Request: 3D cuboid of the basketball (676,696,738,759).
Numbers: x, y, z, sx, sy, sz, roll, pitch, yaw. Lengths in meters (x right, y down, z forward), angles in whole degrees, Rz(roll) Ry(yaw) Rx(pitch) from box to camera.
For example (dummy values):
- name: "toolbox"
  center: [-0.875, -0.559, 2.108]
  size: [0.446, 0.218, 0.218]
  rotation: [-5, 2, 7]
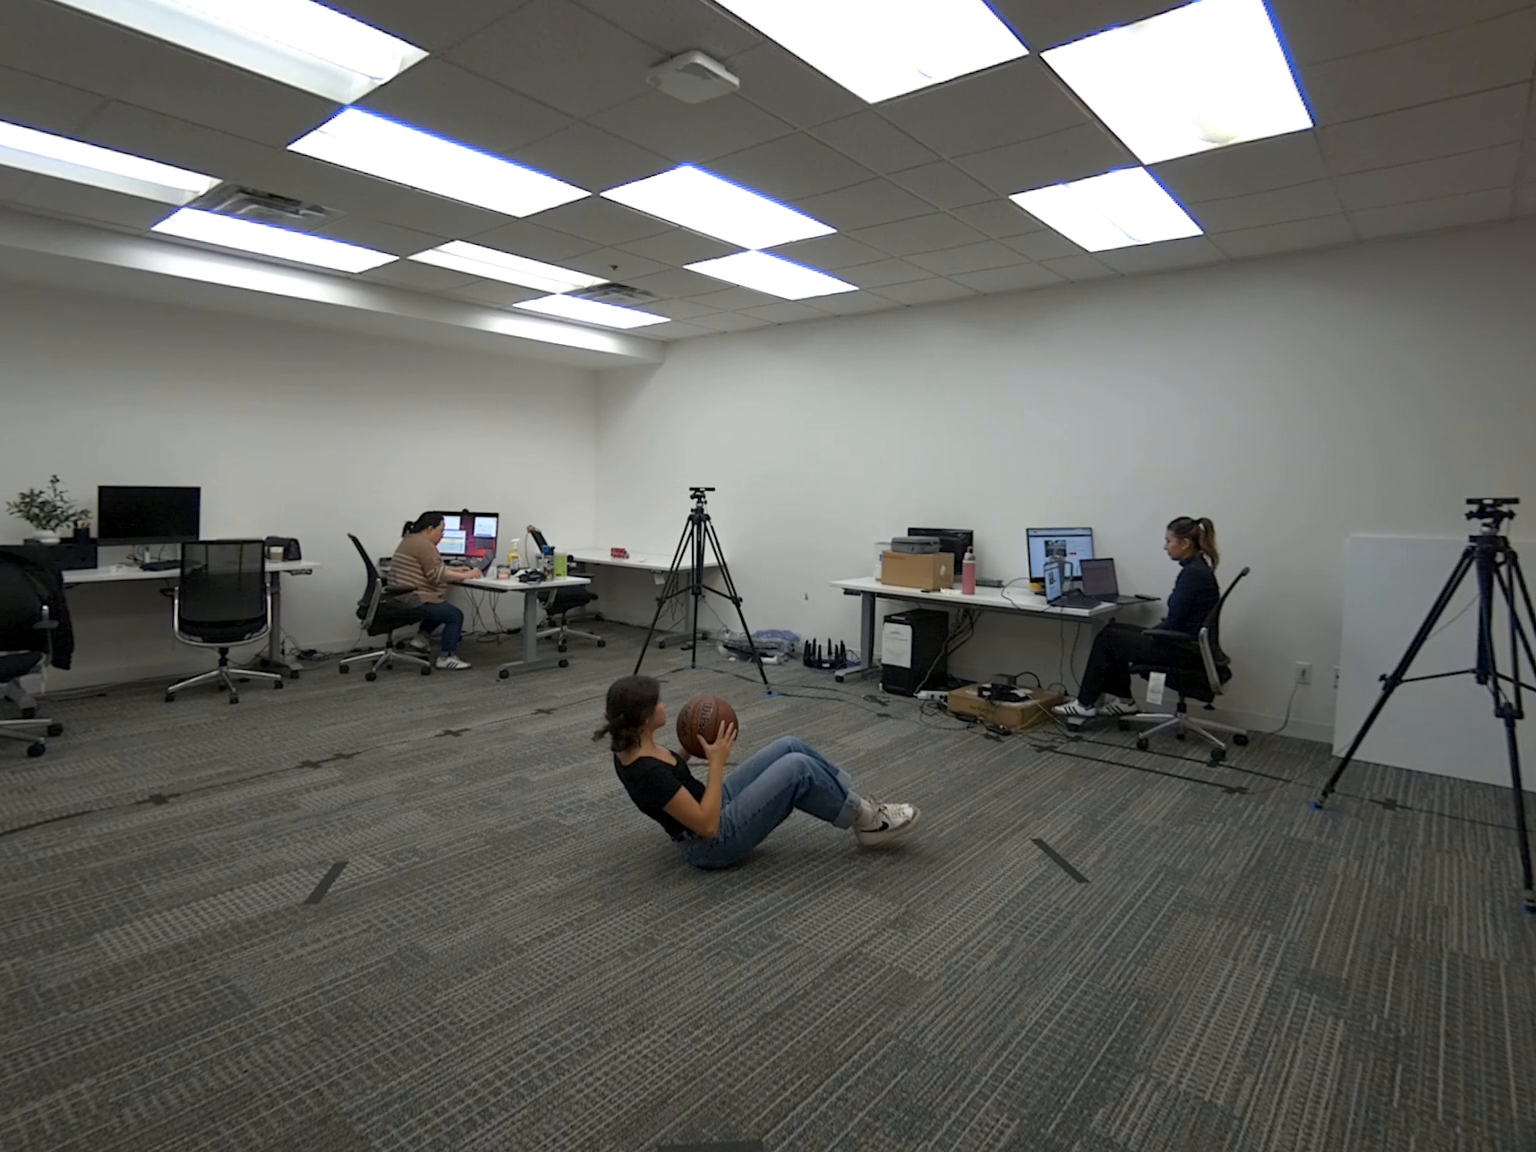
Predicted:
- name: "basketball"
  center: [-0.248, 0.576, 3.246]
  size: [0.235, 0.235, 0.237]
  rotation: [1, 4, -2]
